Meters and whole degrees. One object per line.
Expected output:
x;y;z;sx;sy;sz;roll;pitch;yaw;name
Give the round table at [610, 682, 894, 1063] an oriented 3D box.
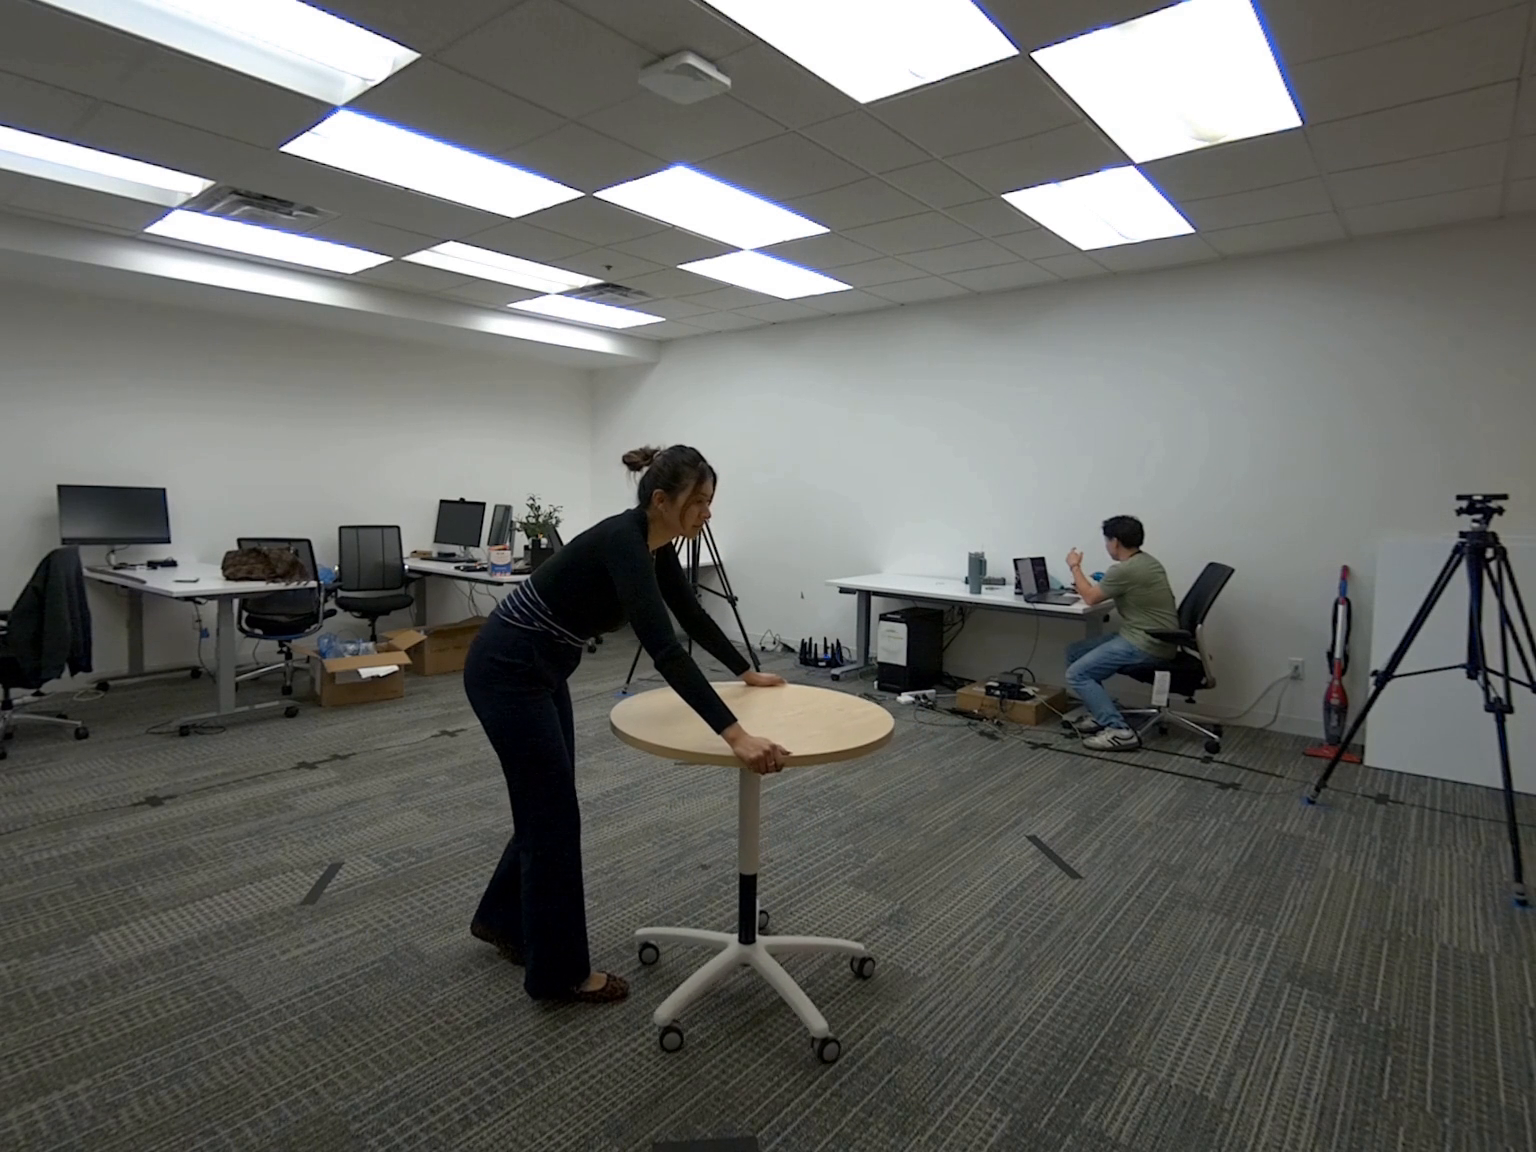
-0.054;0.761;2.345;0.763;0.791;0.768;0;4;-2;round table
